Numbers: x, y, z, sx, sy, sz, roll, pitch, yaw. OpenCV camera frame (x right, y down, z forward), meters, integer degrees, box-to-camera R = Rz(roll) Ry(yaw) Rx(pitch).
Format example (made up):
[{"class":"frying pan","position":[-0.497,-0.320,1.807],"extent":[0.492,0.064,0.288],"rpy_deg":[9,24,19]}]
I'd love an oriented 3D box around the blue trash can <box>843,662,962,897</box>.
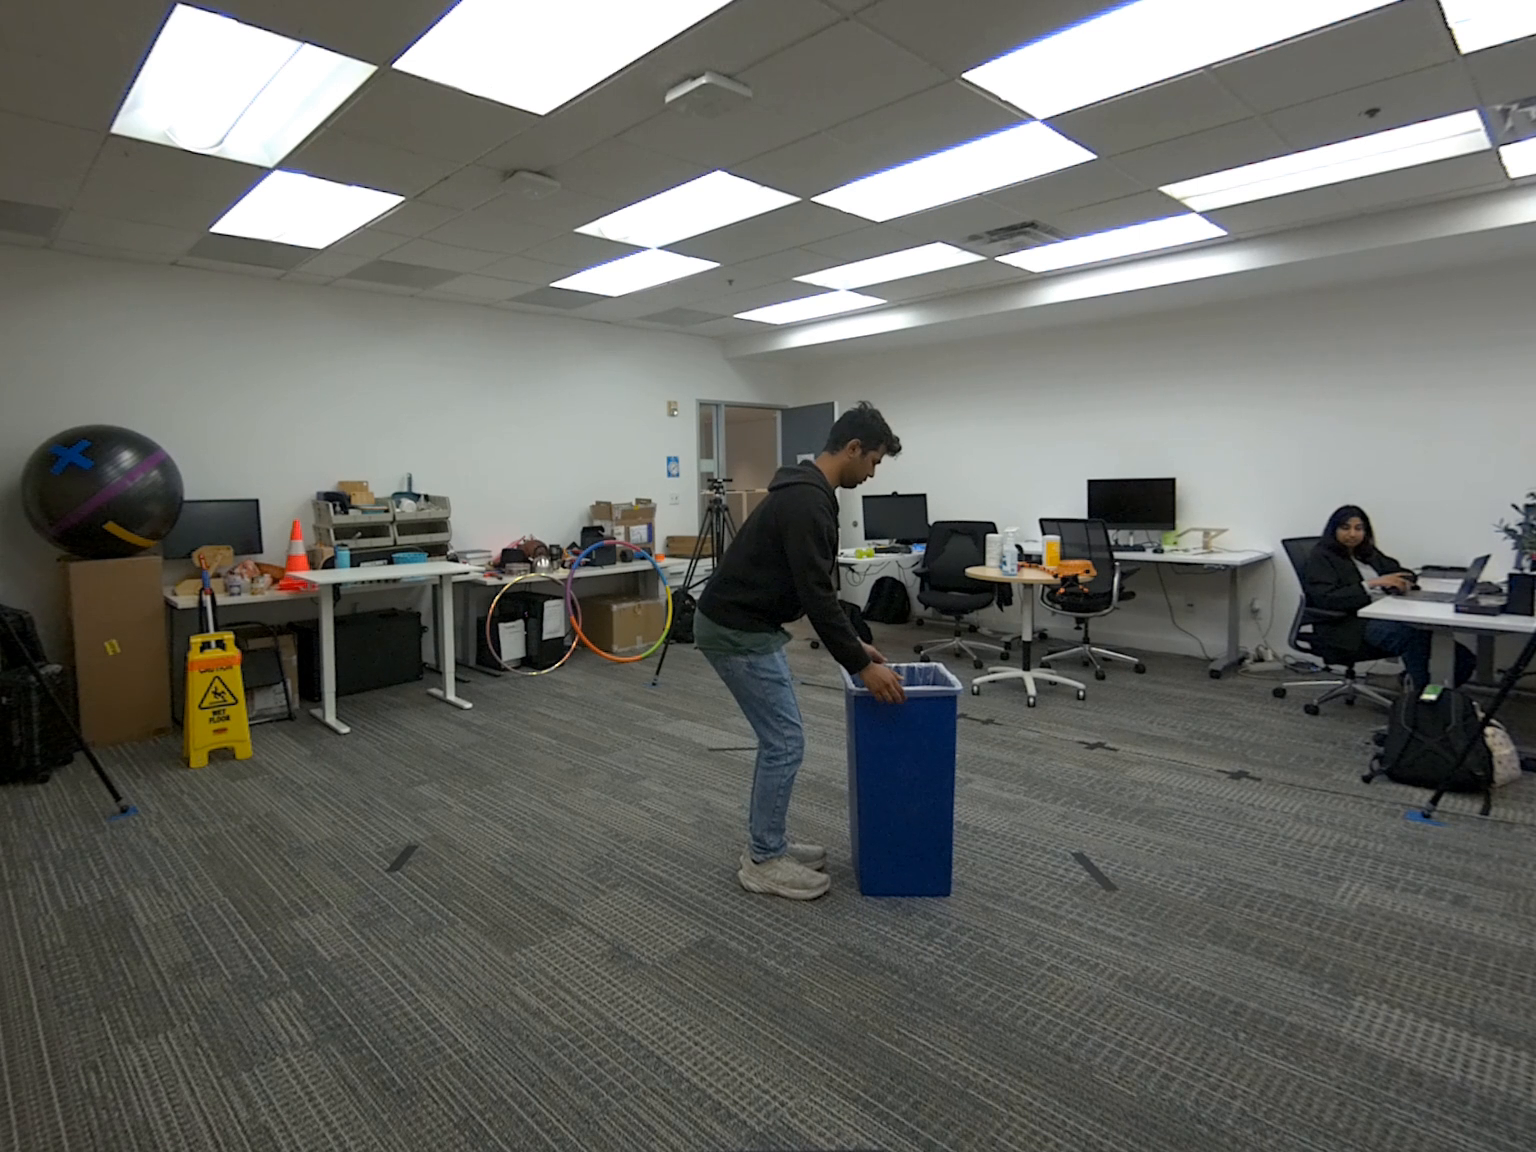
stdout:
[{"class":"blue trash can","position":[0.454,0.696,2.958],"extent":[0.379,0.711,0.374],"rpy_deg":[-2,4,2]}]
